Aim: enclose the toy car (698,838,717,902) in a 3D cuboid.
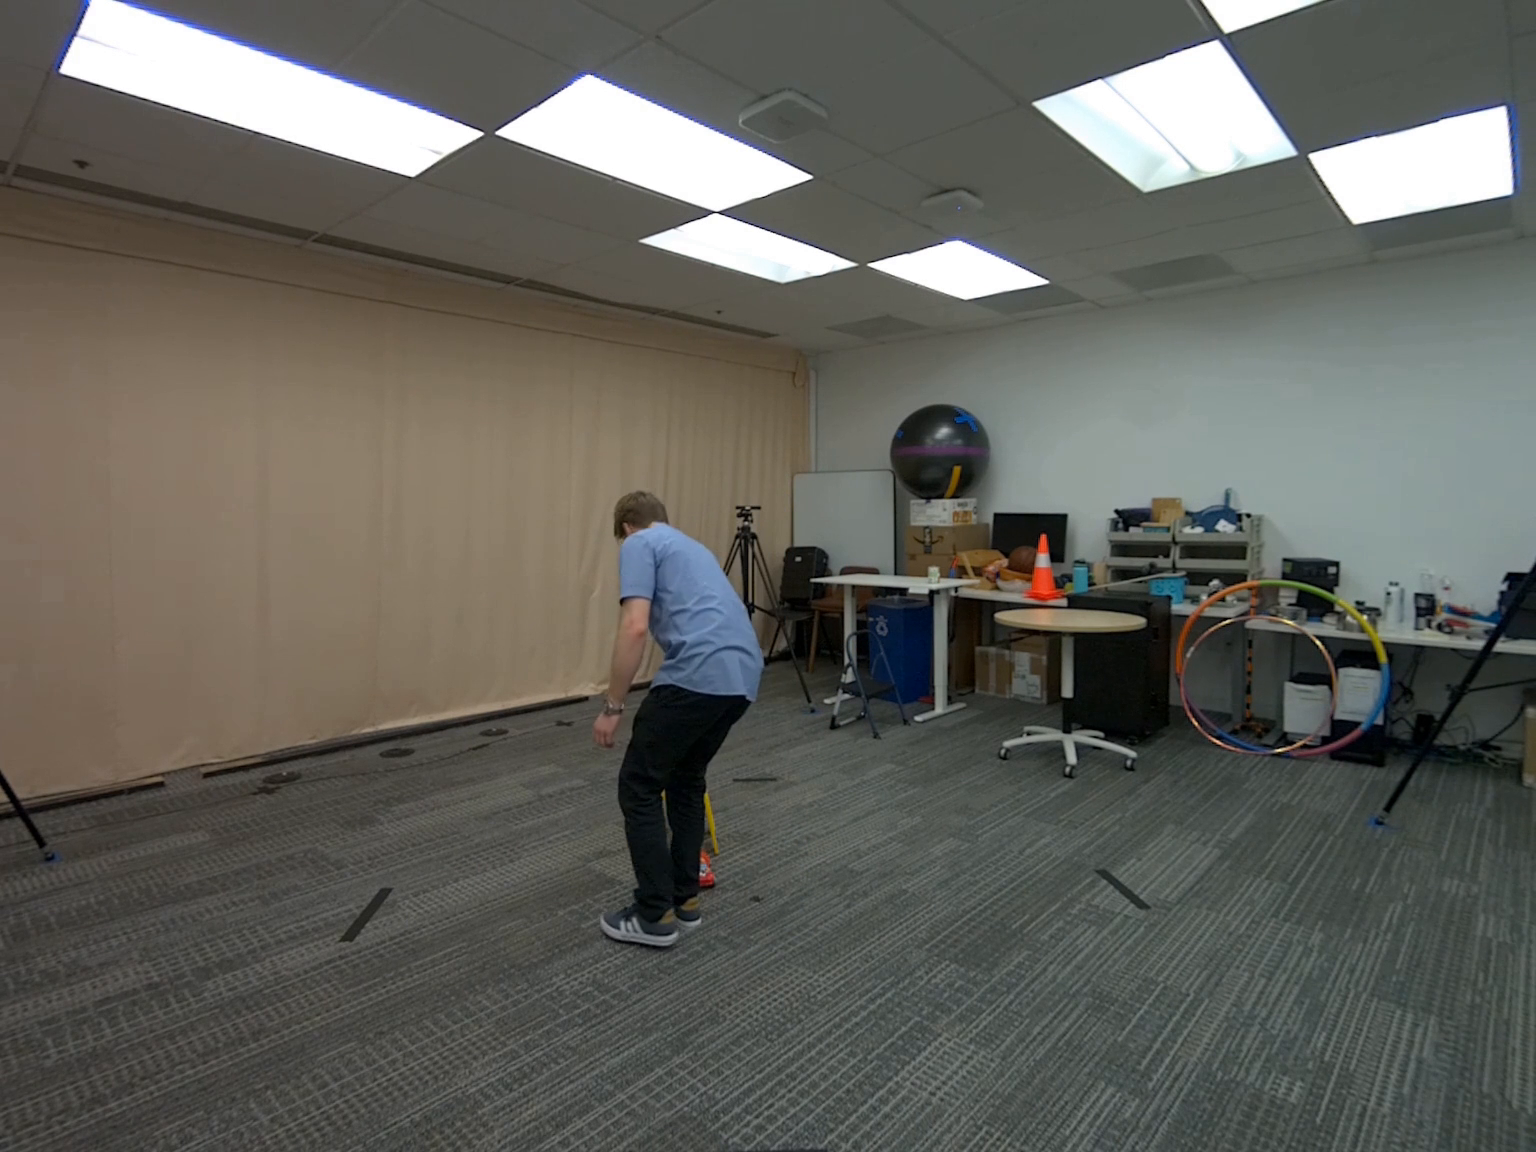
[{"bbox_3d":[-0.277,1.095,3.165,0.129,0.082,0.259,-2,17,-10],"label":"toy car"}]
